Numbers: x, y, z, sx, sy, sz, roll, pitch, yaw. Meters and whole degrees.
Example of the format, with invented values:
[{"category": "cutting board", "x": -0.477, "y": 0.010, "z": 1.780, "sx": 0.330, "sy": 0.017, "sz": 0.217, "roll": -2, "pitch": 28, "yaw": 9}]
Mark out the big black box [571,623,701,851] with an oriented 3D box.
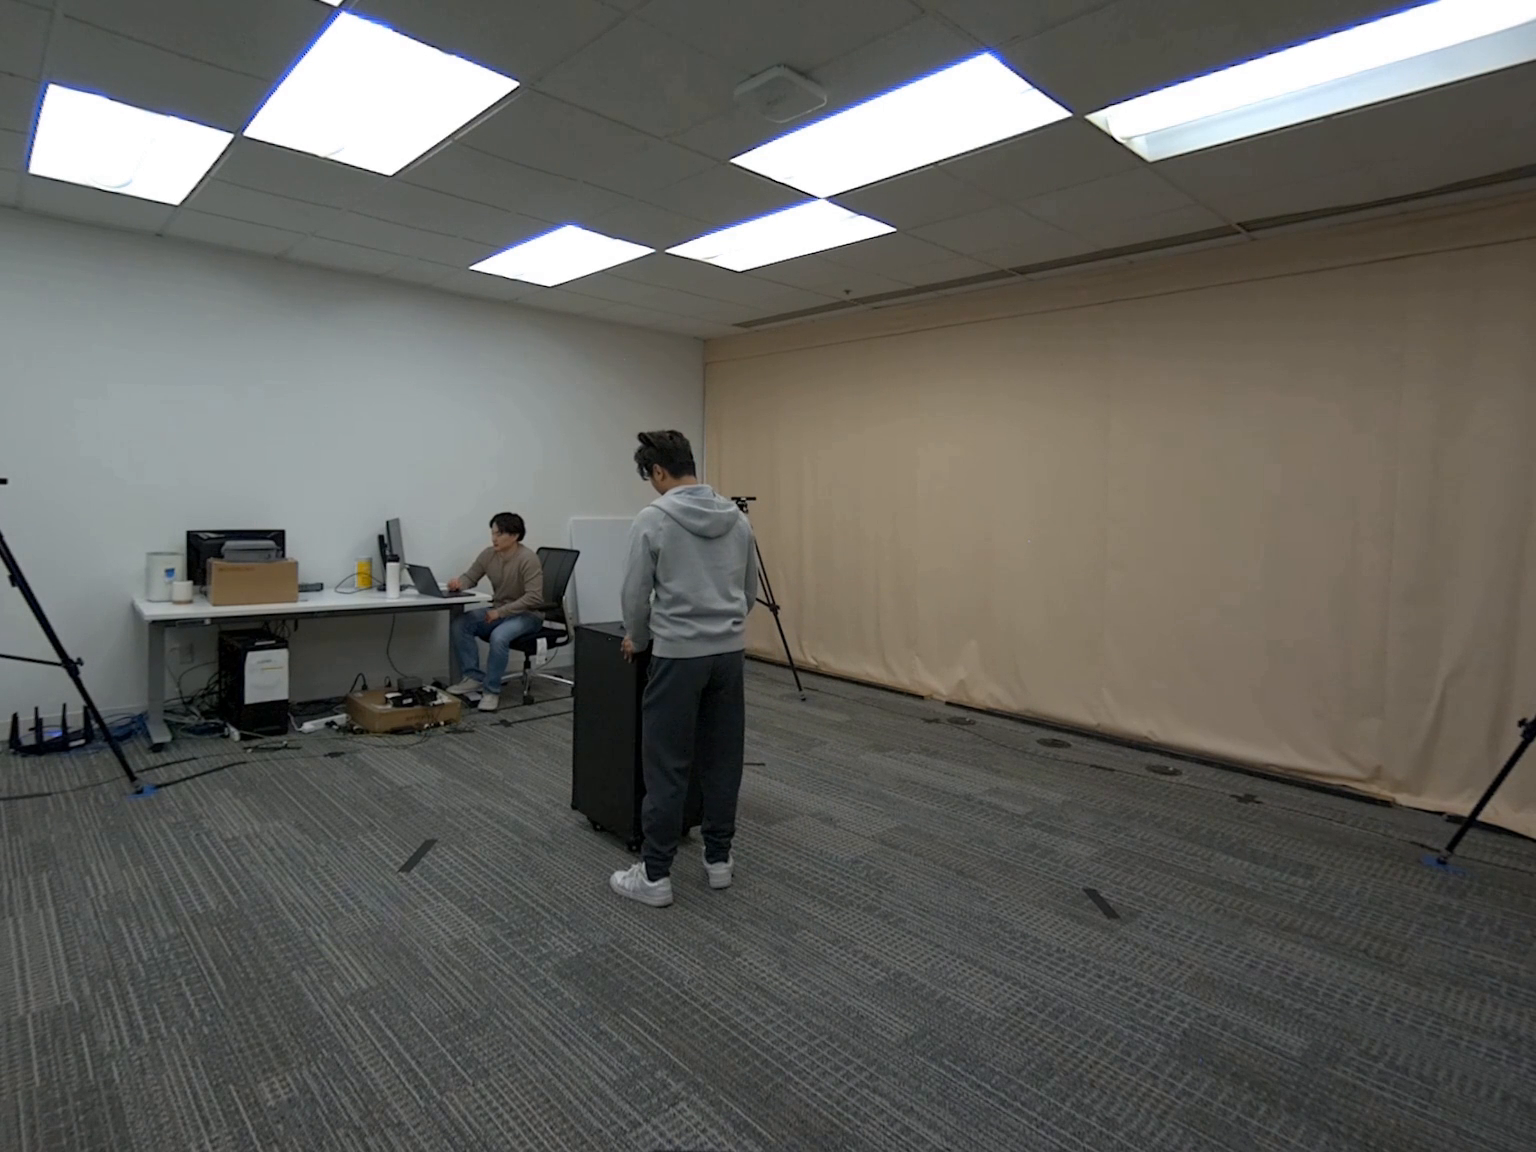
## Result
[{"category": "big black box", "x": -0.541, "y": 0.644, "z": 3.482, "sx": 0.387, "sy": 0.860, "sz": 0.534, "roll": 1, "pitch": 3, "yaw": -40}]
